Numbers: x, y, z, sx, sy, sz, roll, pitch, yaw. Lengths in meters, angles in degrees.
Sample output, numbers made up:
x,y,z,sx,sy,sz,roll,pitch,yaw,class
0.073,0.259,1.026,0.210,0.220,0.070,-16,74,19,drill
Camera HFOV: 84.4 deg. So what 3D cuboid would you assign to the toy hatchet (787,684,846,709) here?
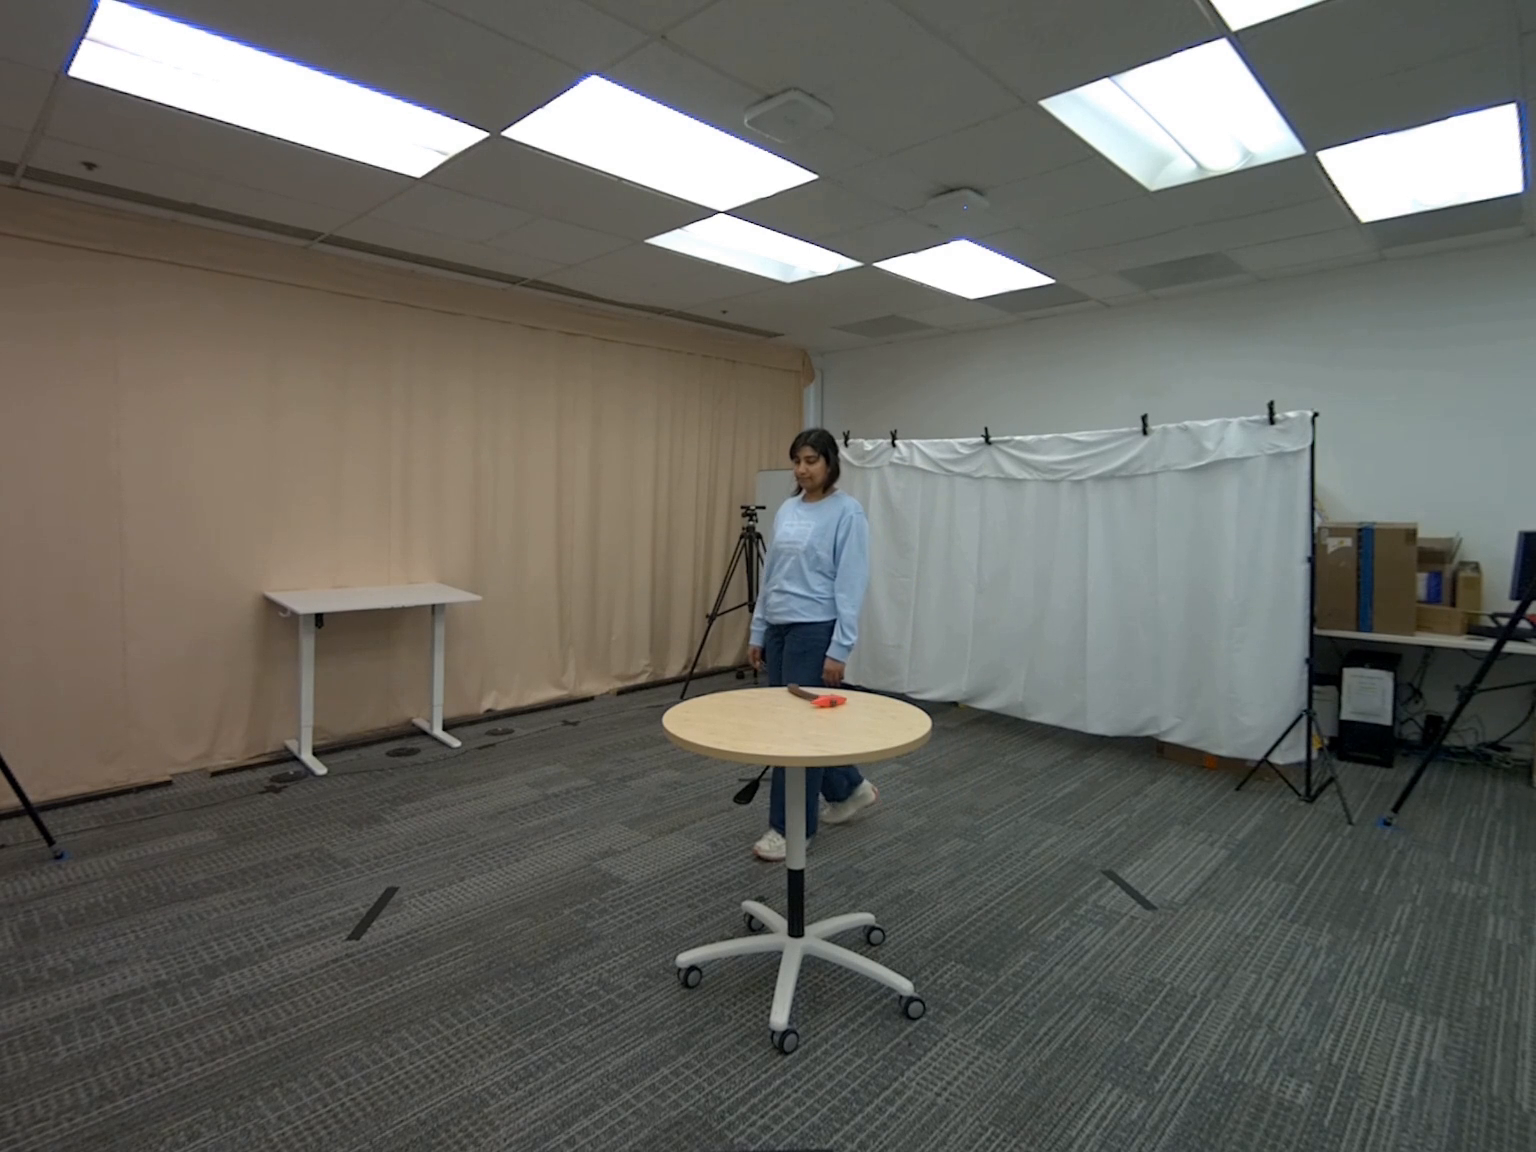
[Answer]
x,y,z,sx,sy,sz,roll,pitch,yaw,class
0.173,0.373,2.654,0.129,0.029,0.274,-2,4,-12,toy hatchet
